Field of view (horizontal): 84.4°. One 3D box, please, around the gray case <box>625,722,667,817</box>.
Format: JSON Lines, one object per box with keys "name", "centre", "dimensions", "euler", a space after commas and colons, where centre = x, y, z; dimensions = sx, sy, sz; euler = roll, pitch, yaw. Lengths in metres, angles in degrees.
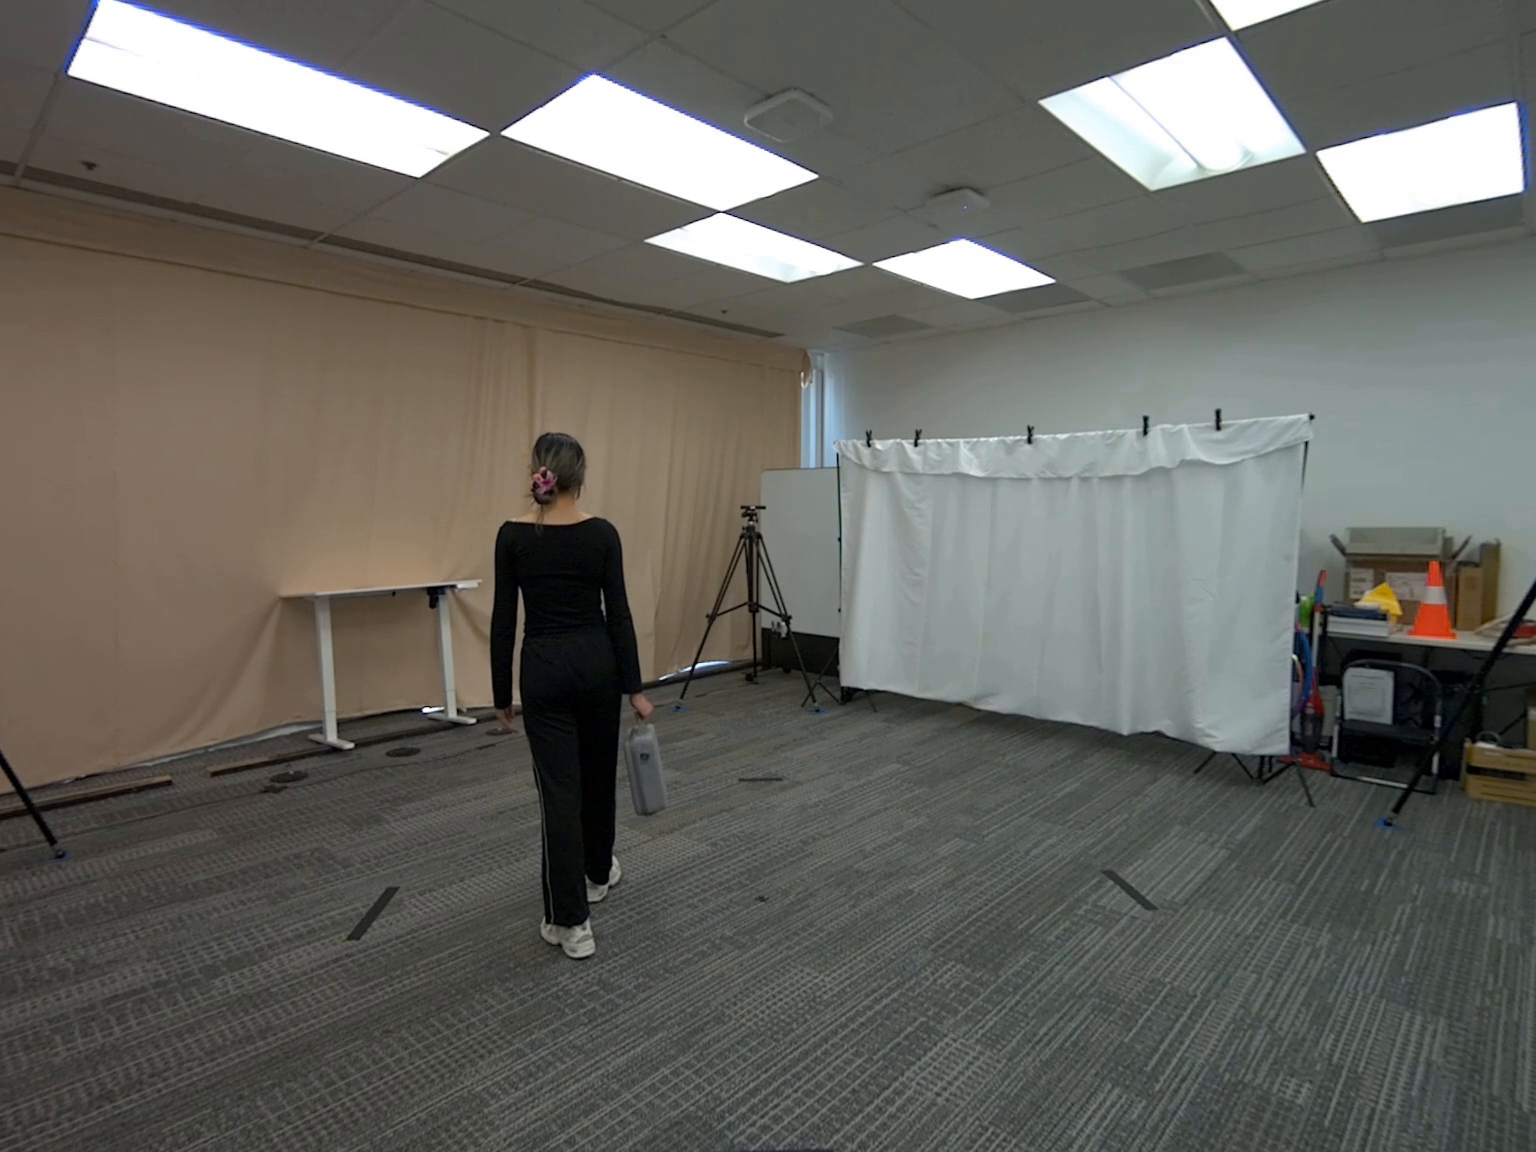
{"name": "gray case", "centre": [-0.415, 0.636, 2.807], "dimensions": [0.104, 0.260, 0.258], "euler": [-6, 1, -6]}
